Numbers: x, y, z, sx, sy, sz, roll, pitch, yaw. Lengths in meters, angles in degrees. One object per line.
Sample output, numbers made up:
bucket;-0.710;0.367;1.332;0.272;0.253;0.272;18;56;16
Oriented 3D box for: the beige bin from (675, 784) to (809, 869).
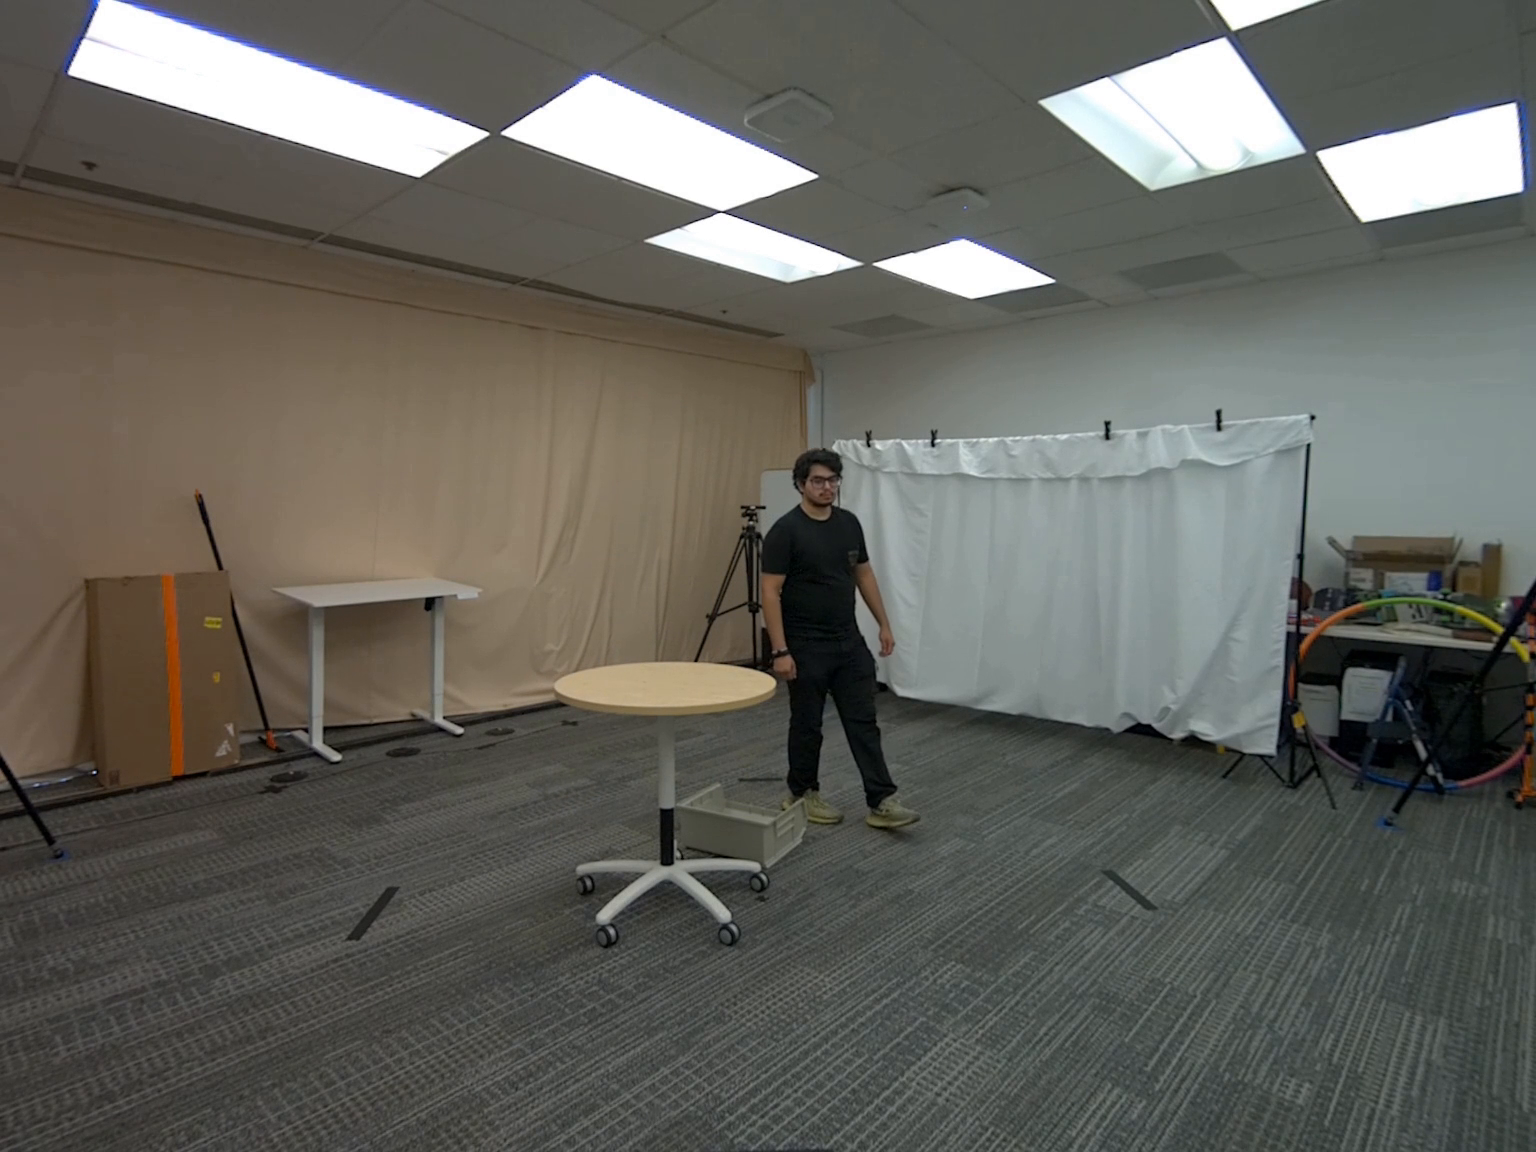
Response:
beige bin;-0.104;1.014;3.479;0.434;0.188;0.368;3;6;29
